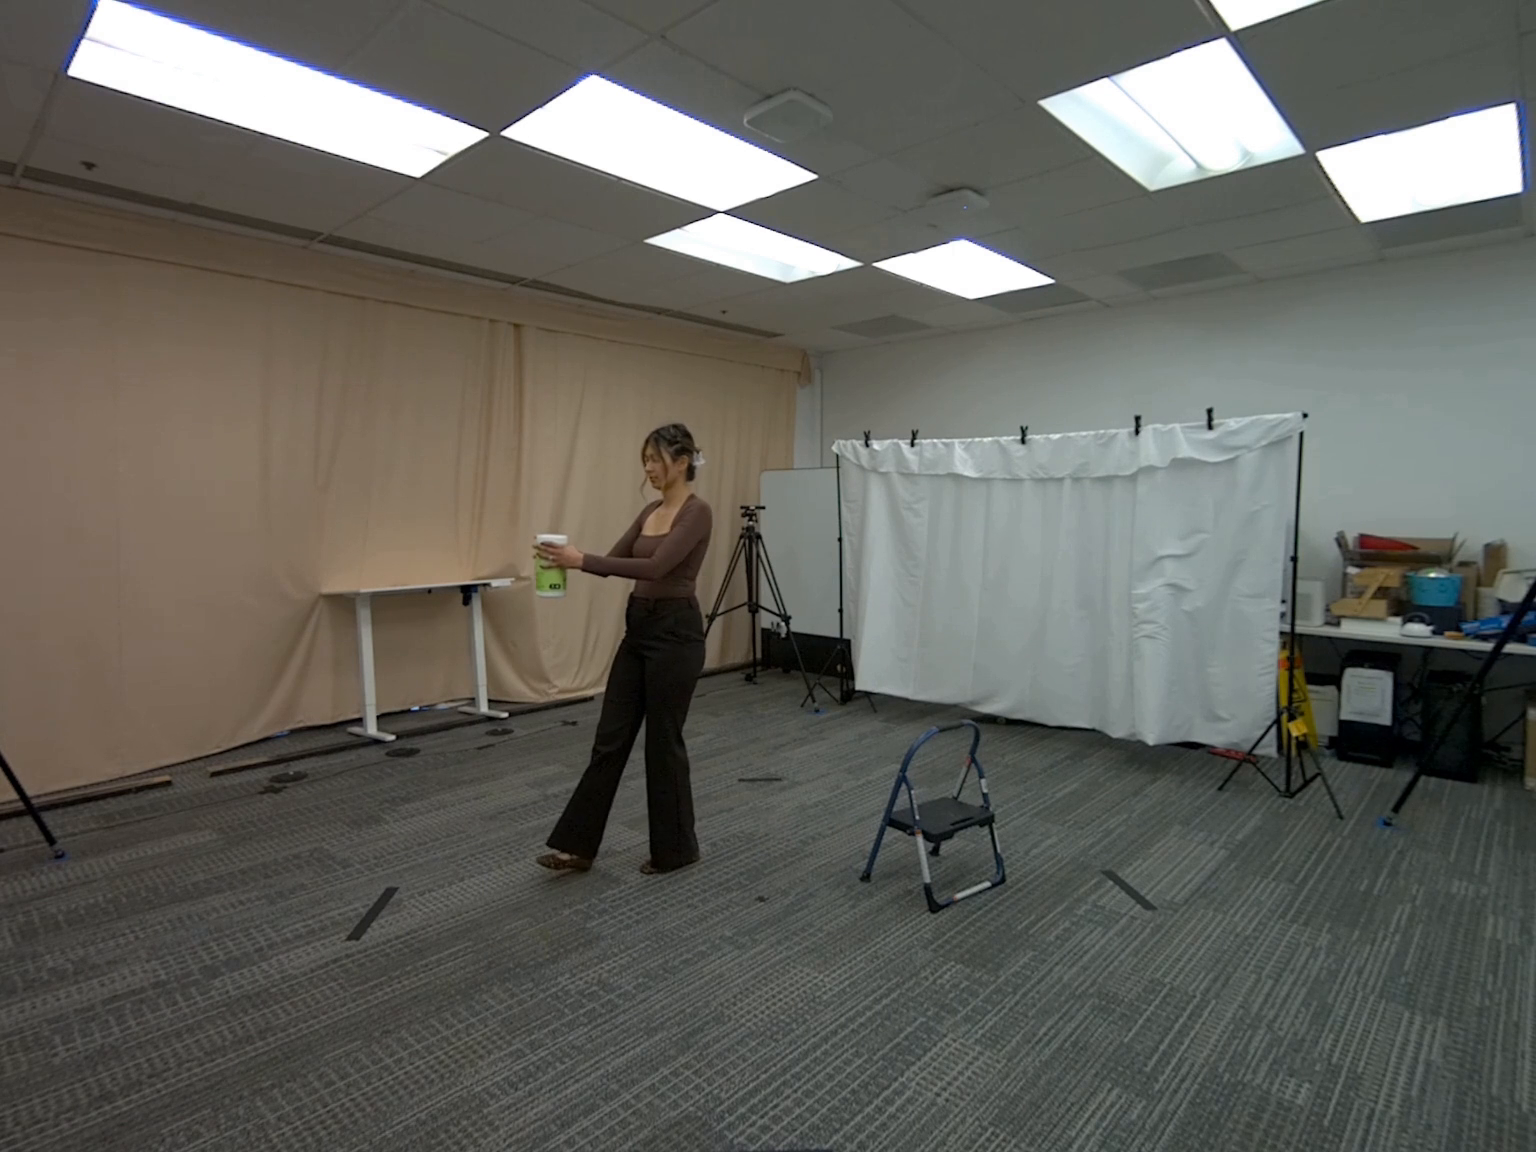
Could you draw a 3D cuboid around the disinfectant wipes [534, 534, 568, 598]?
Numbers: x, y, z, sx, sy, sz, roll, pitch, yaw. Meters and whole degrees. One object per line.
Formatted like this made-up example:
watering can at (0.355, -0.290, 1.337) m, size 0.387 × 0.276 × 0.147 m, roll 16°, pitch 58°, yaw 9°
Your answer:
disinfectant wipes at (-0.760, -0.035, 2.973) m, size 0.117 × 0.217 × 0.118 m, roll 3°, pitch 4°, yaw -2°
